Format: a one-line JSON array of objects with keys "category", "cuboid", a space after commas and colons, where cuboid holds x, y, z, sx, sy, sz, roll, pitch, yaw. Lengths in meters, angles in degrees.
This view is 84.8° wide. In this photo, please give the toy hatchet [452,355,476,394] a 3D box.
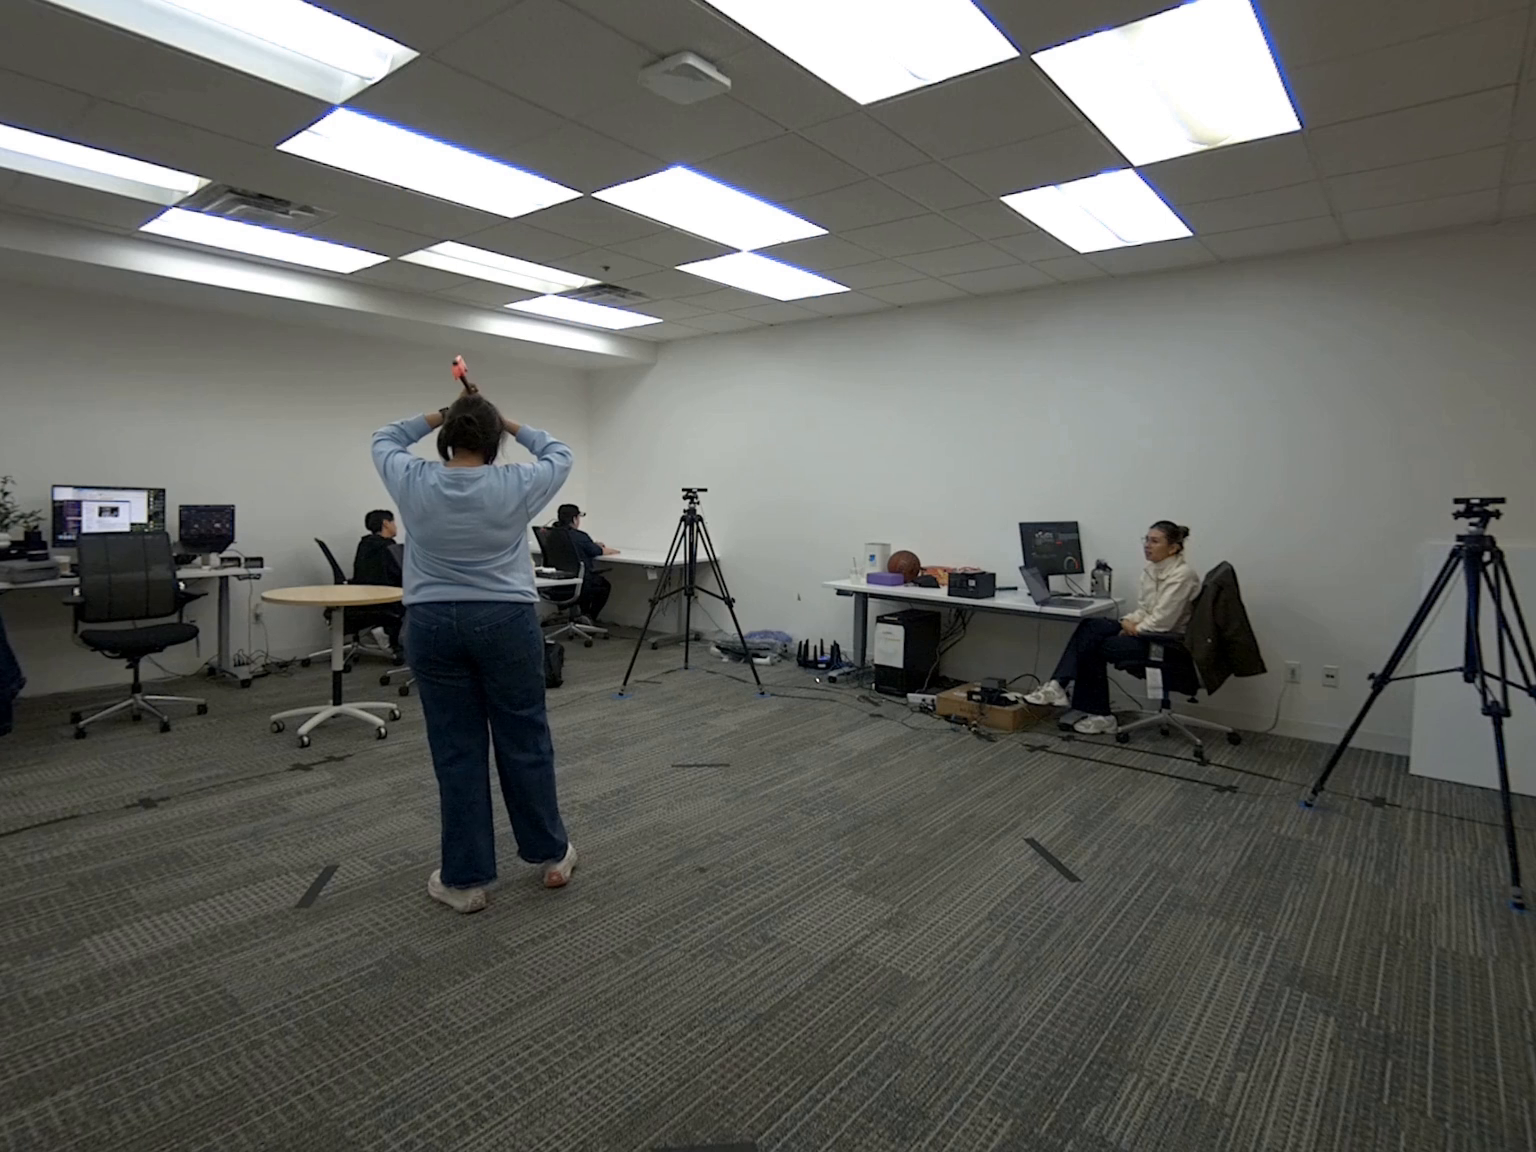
[{"category": "toy hatchet", "cuboid": [-1.039, -0.664, 2.936, 0.029, 0.134, 0.263, -17, -21, -2]}]
